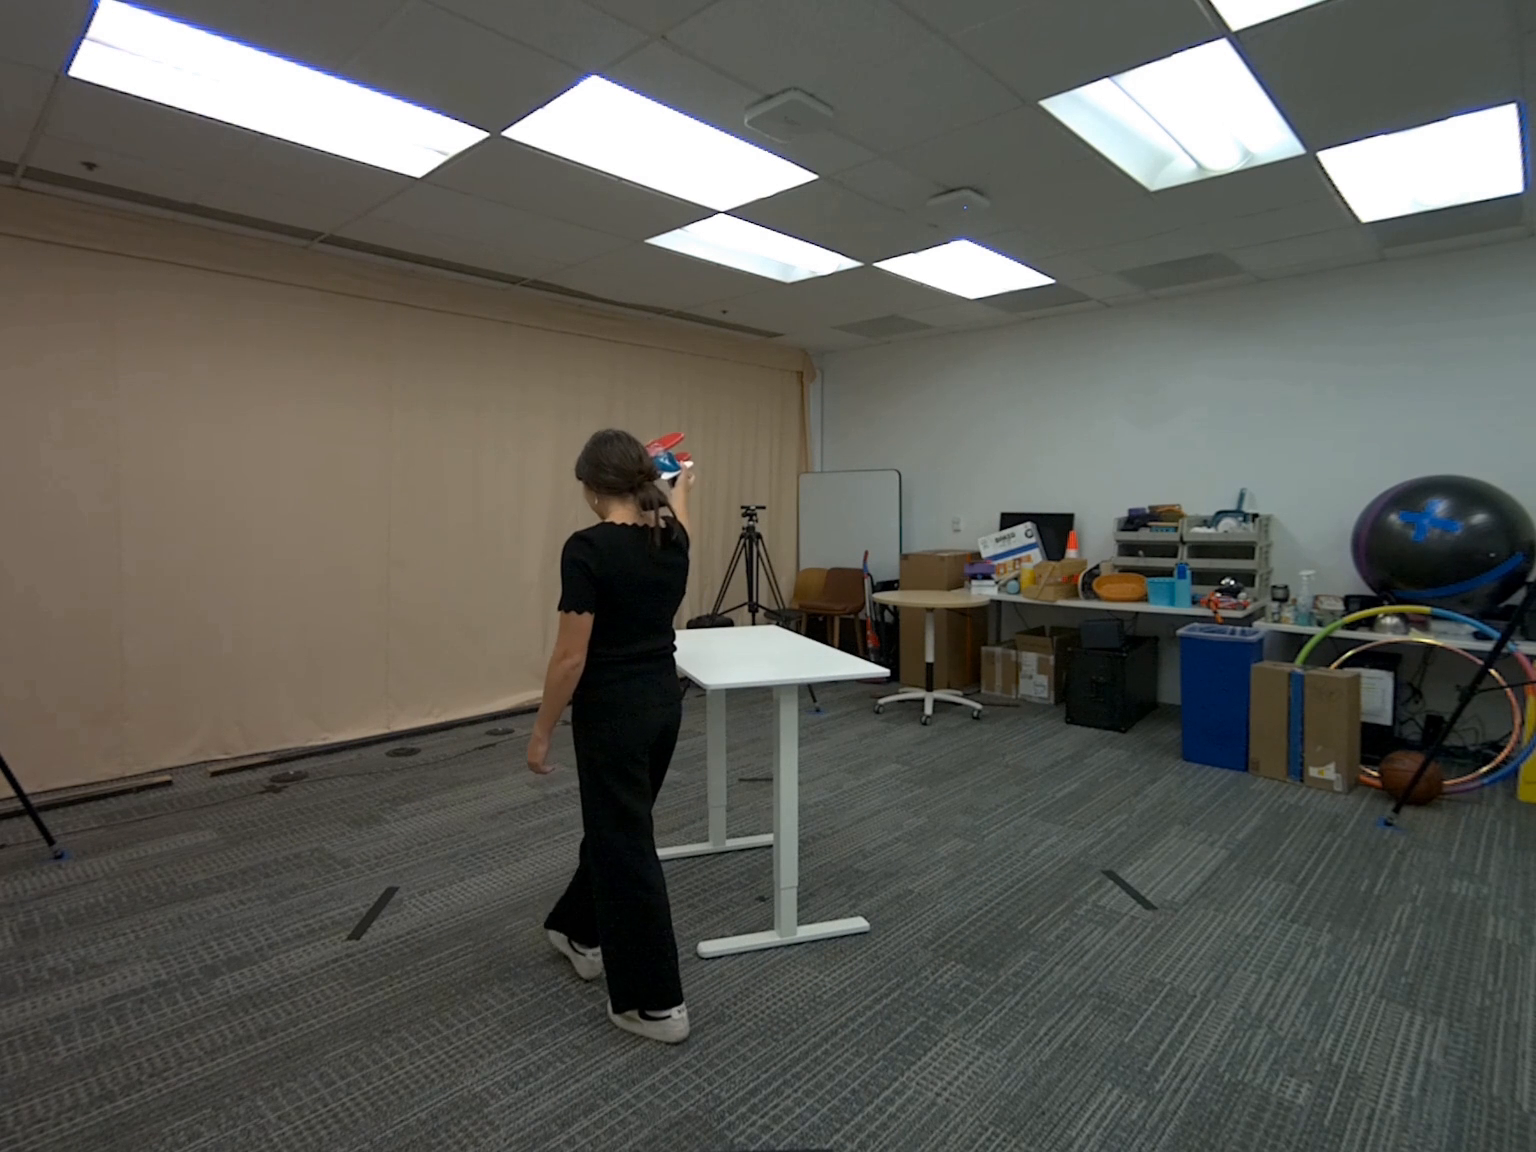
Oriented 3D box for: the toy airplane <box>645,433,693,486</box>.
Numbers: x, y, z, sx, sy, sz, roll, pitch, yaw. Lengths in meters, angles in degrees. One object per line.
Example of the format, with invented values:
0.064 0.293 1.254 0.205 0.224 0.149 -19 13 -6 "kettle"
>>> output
-0.356 -0.377 2.887 0.266 0.154 0.249 -11 23 37 "toy airplane"
